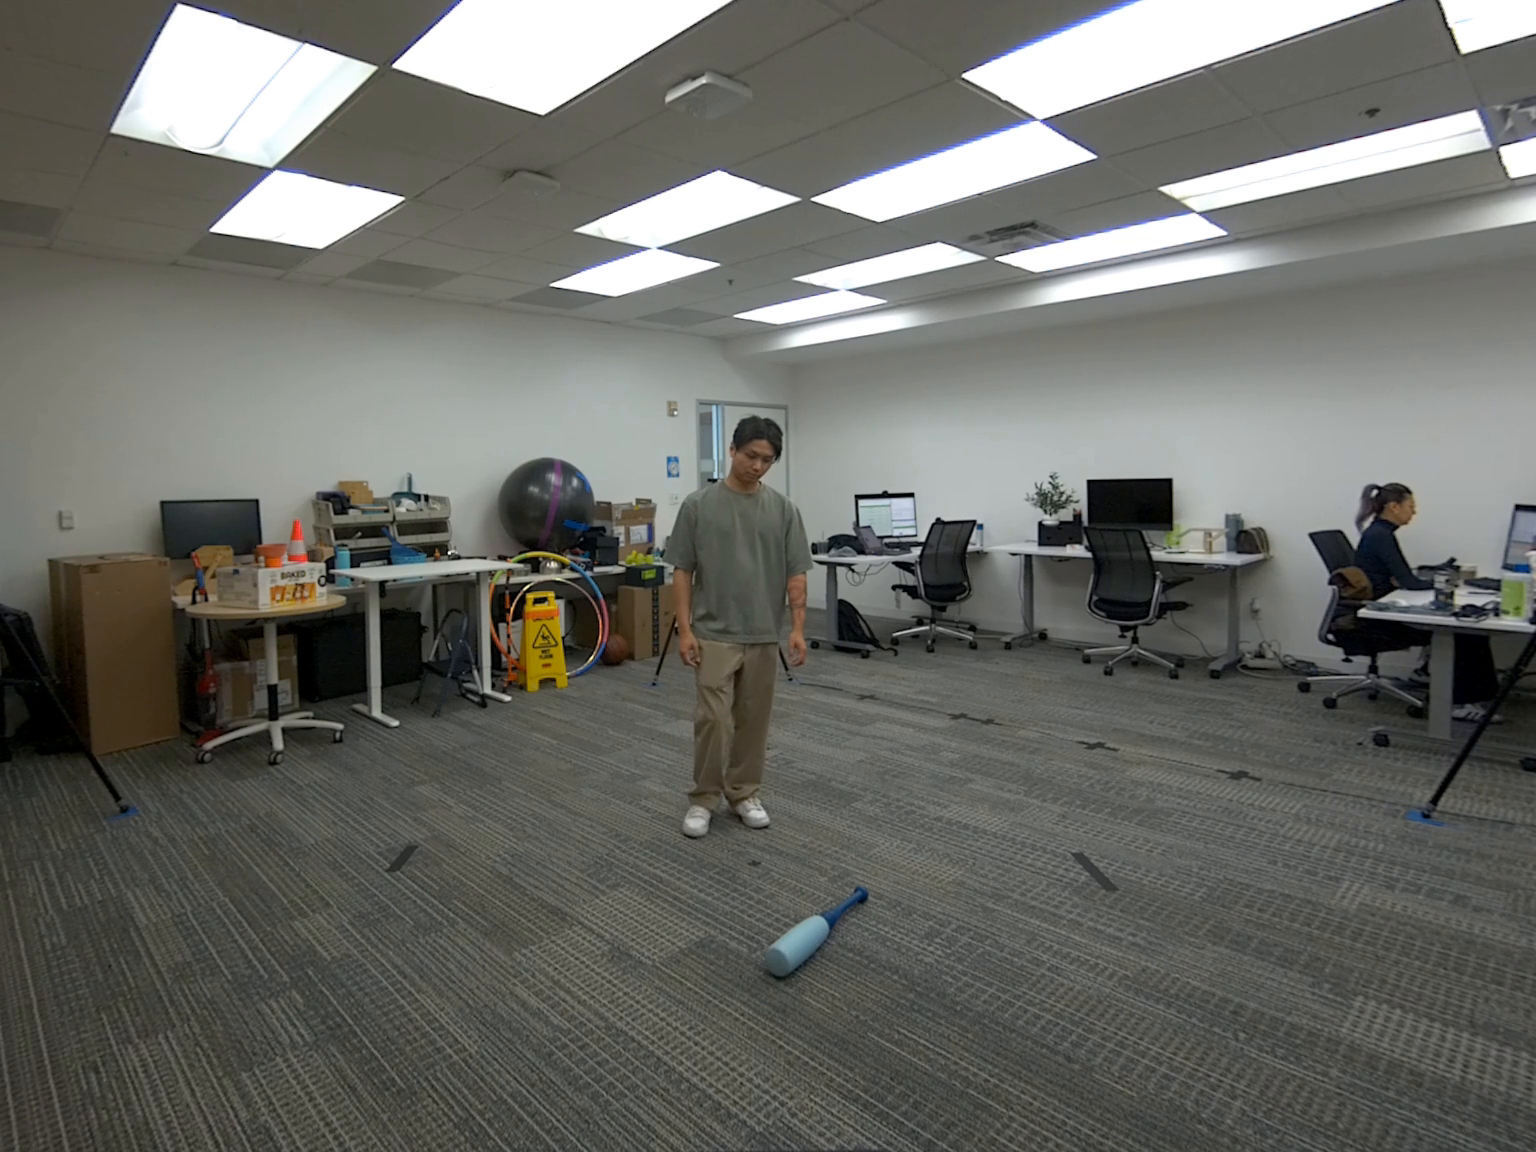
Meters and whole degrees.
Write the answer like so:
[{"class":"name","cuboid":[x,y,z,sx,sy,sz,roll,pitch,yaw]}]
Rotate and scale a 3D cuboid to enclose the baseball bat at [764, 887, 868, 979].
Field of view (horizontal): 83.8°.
[{"class":"baseball bat","cuboid":[0.172,1.064,2.595,0.091,0.089,0.529,2,5,34]}]
